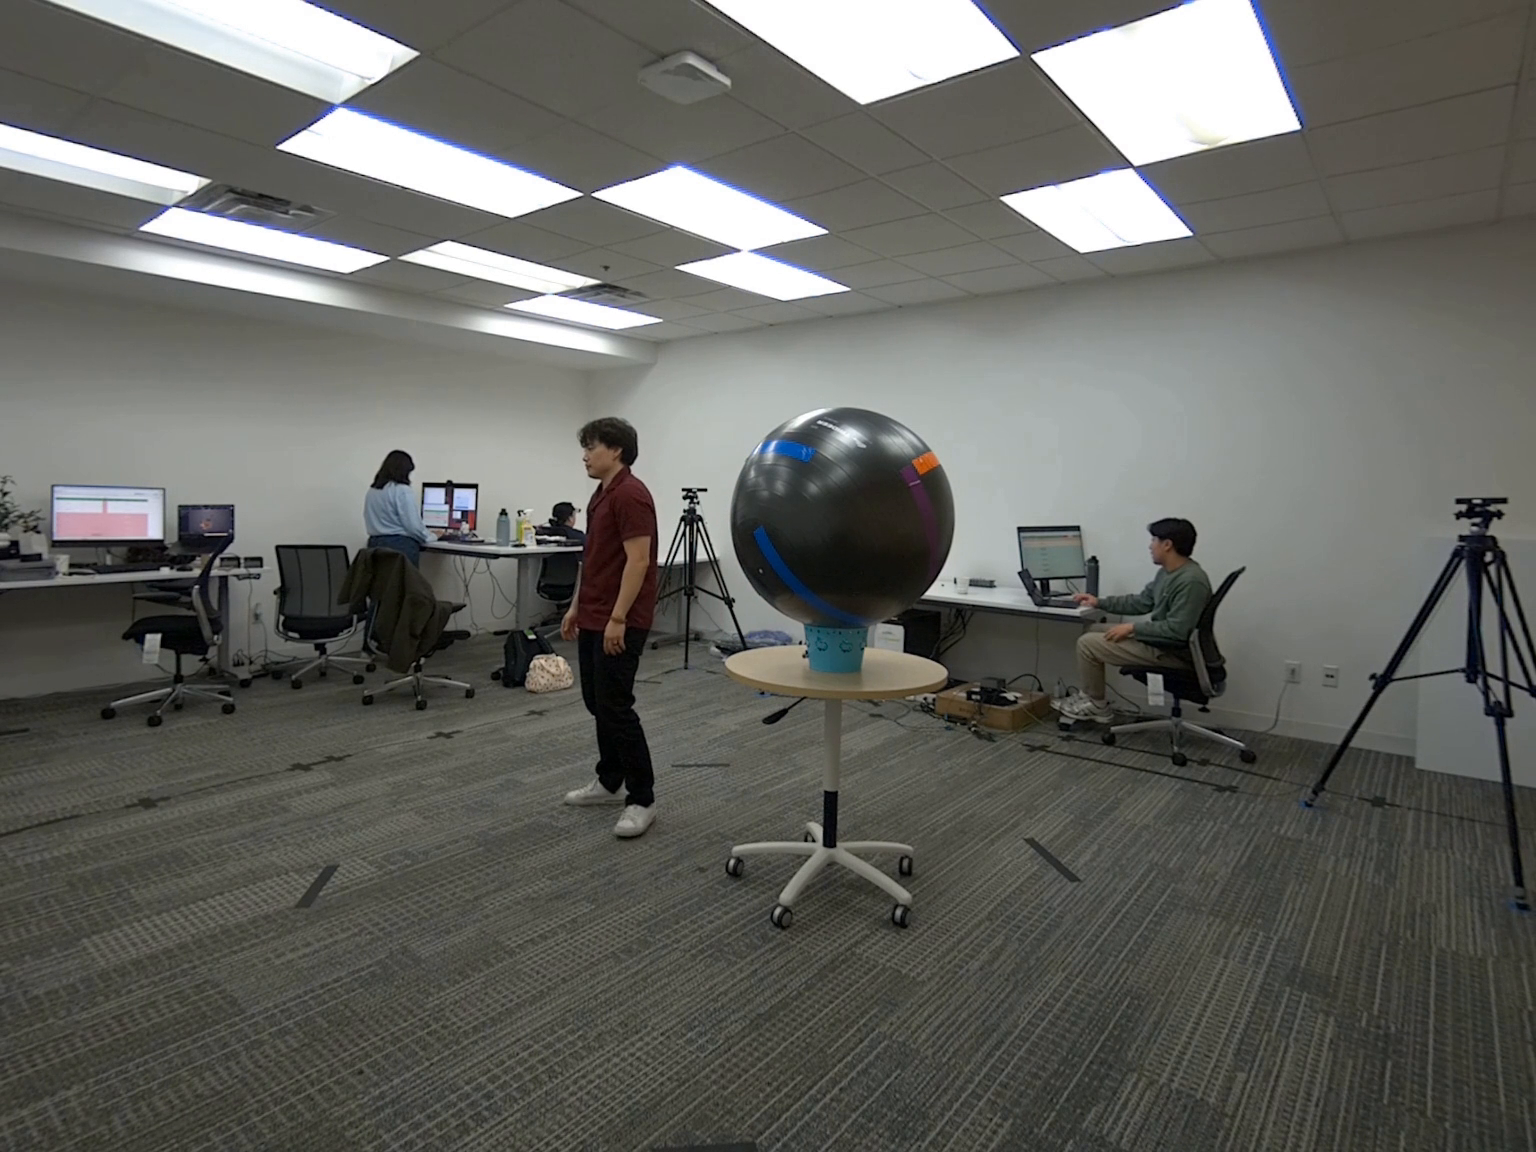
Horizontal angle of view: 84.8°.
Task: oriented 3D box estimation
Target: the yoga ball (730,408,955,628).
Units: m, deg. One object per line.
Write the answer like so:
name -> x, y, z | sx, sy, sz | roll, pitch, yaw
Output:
yoga ball -> 0.243, -0.192, 2.910 | 0.757, 0.756, 0.761 | 1, 4, -2
